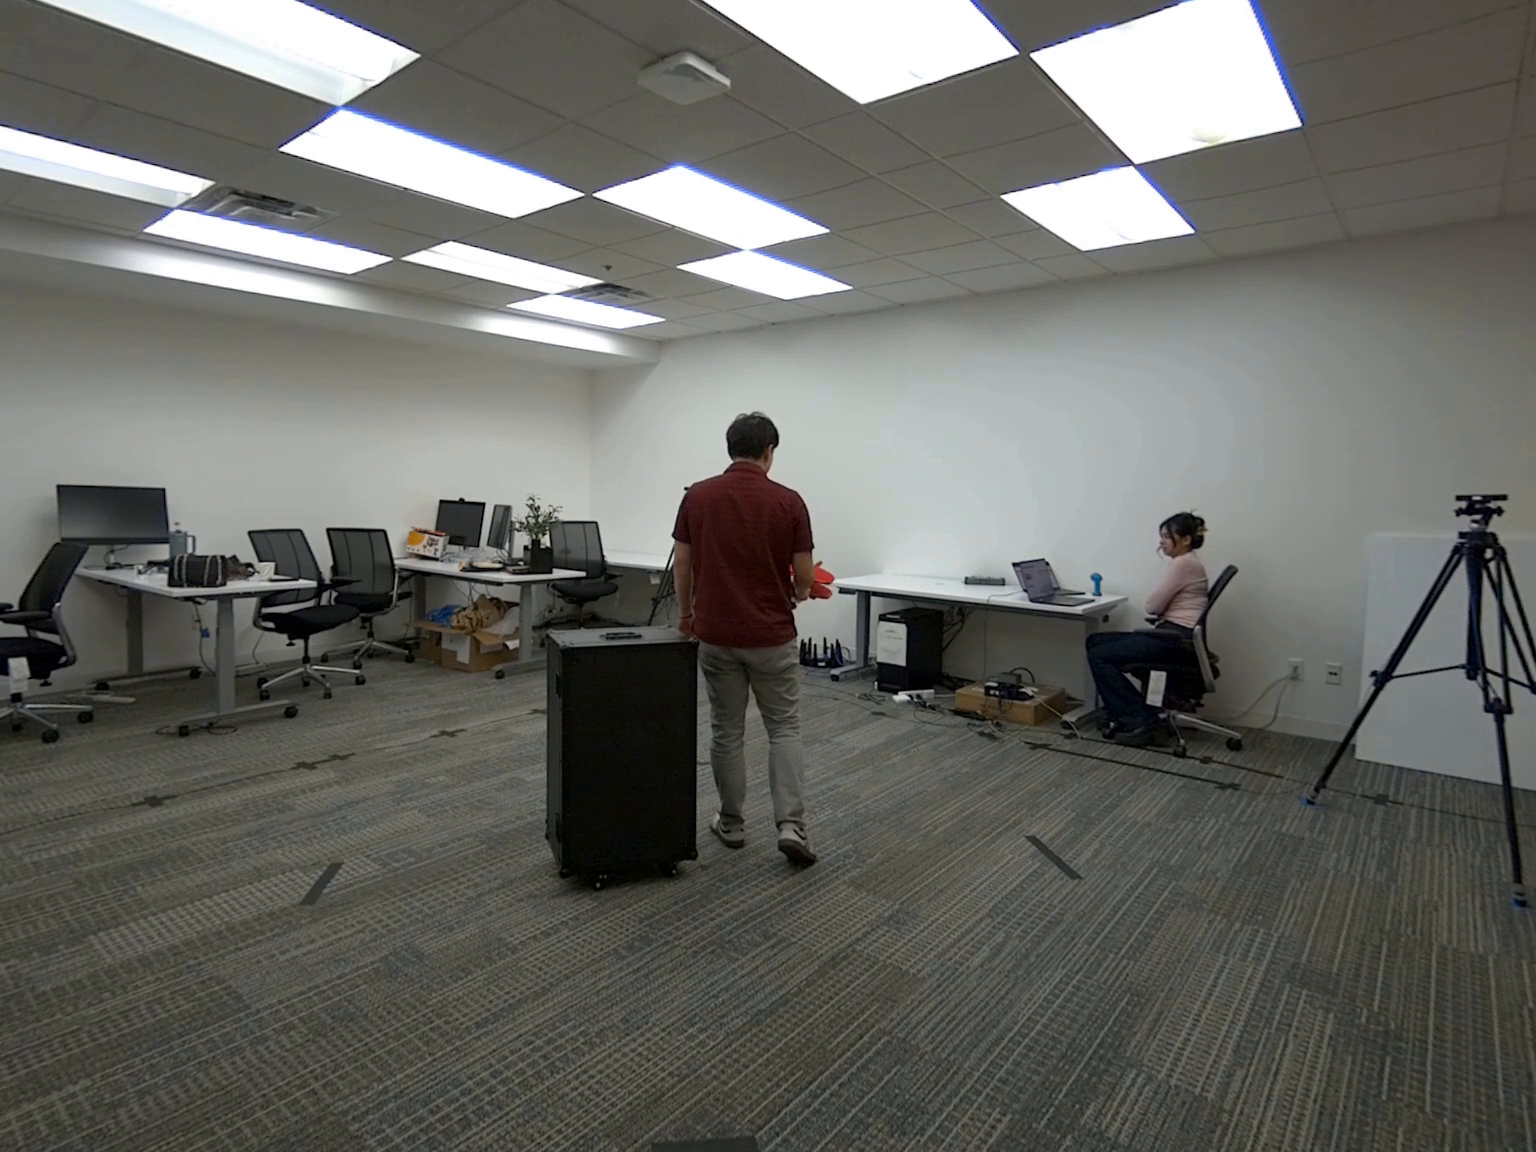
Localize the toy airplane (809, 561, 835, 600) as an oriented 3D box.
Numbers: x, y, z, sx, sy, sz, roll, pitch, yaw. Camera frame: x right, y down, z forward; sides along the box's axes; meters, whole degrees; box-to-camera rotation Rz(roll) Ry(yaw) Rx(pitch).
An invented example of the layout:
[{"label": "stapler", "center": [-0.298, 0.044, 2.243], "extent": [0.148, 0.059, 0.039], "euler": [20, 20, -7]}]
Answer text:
[{"label": "toy airplane", "center": [0.159, 0.040, 3.613], "extent": [0.250, 0.154, 0.264], "euler": [10, 21, -4]}]
